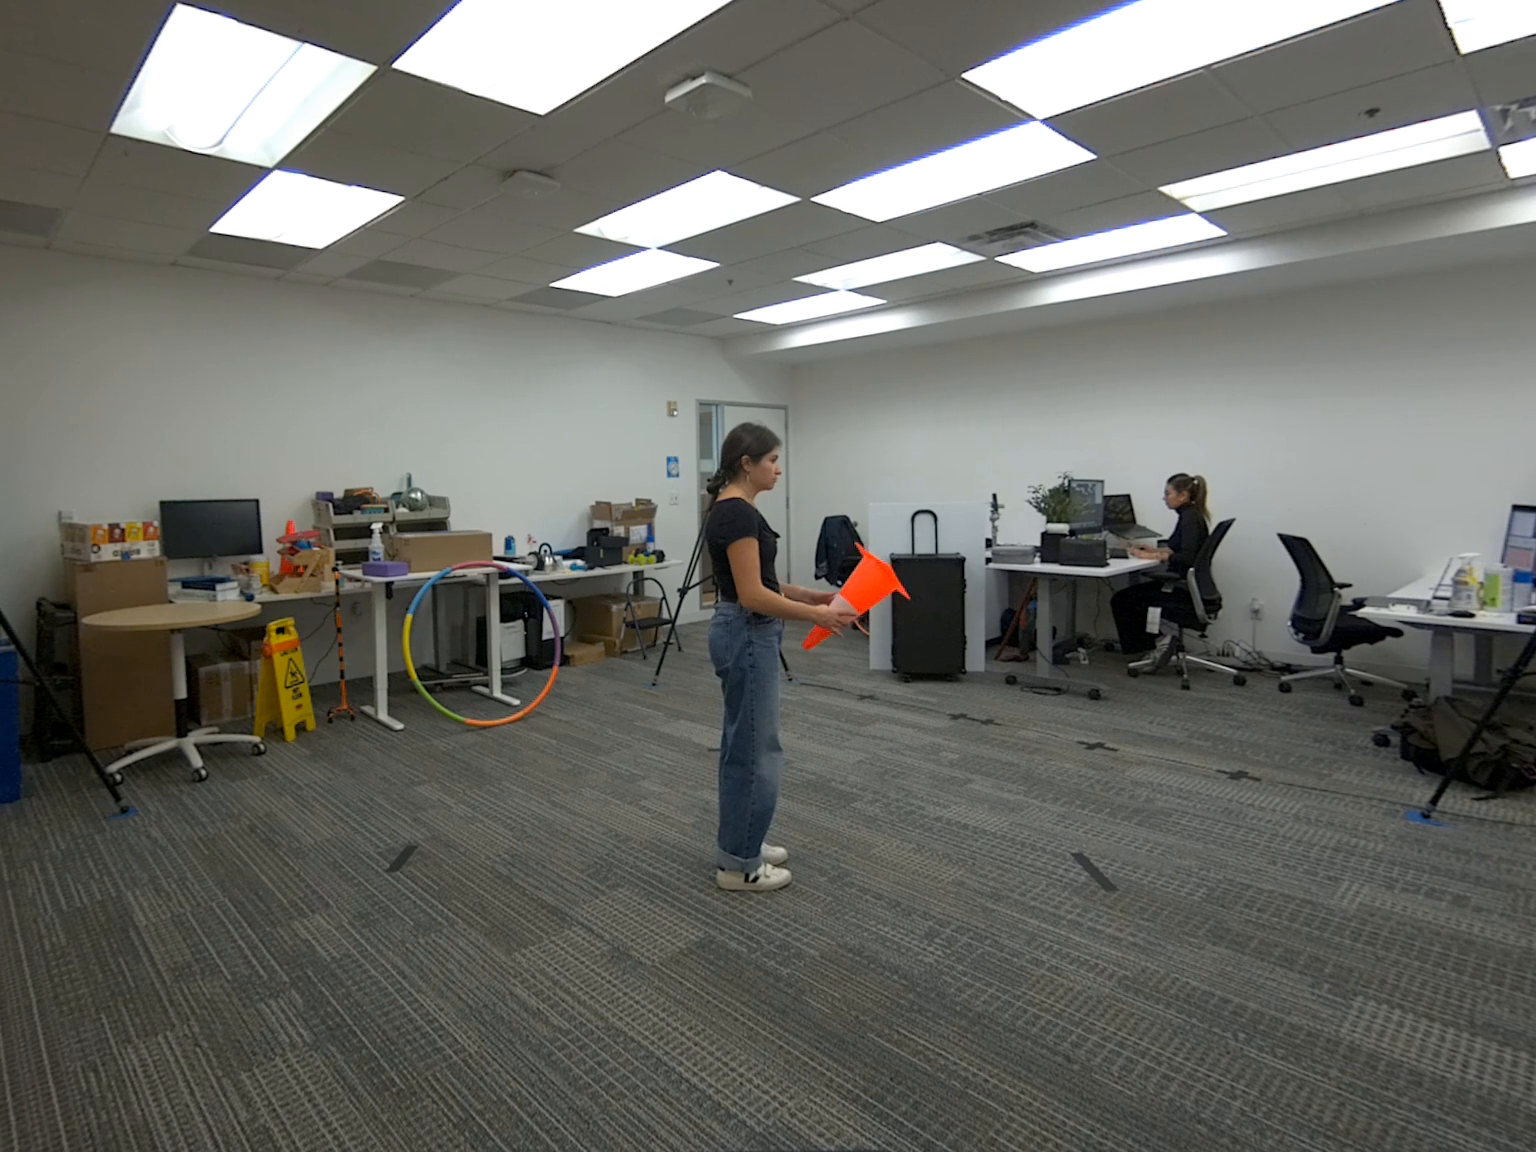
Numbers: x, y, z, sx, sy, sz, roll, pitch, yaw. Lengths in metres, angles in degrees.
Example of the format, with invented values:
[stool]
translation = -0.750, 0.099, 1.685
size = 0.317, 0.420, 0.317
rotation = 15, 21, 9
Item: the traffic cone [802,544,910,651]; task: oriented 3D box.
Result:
[traffic cone]
translation = 0.250, 0.112, 2.935
size = 0.195, 0.384, 0.213
rotation = 48, 1, -43
